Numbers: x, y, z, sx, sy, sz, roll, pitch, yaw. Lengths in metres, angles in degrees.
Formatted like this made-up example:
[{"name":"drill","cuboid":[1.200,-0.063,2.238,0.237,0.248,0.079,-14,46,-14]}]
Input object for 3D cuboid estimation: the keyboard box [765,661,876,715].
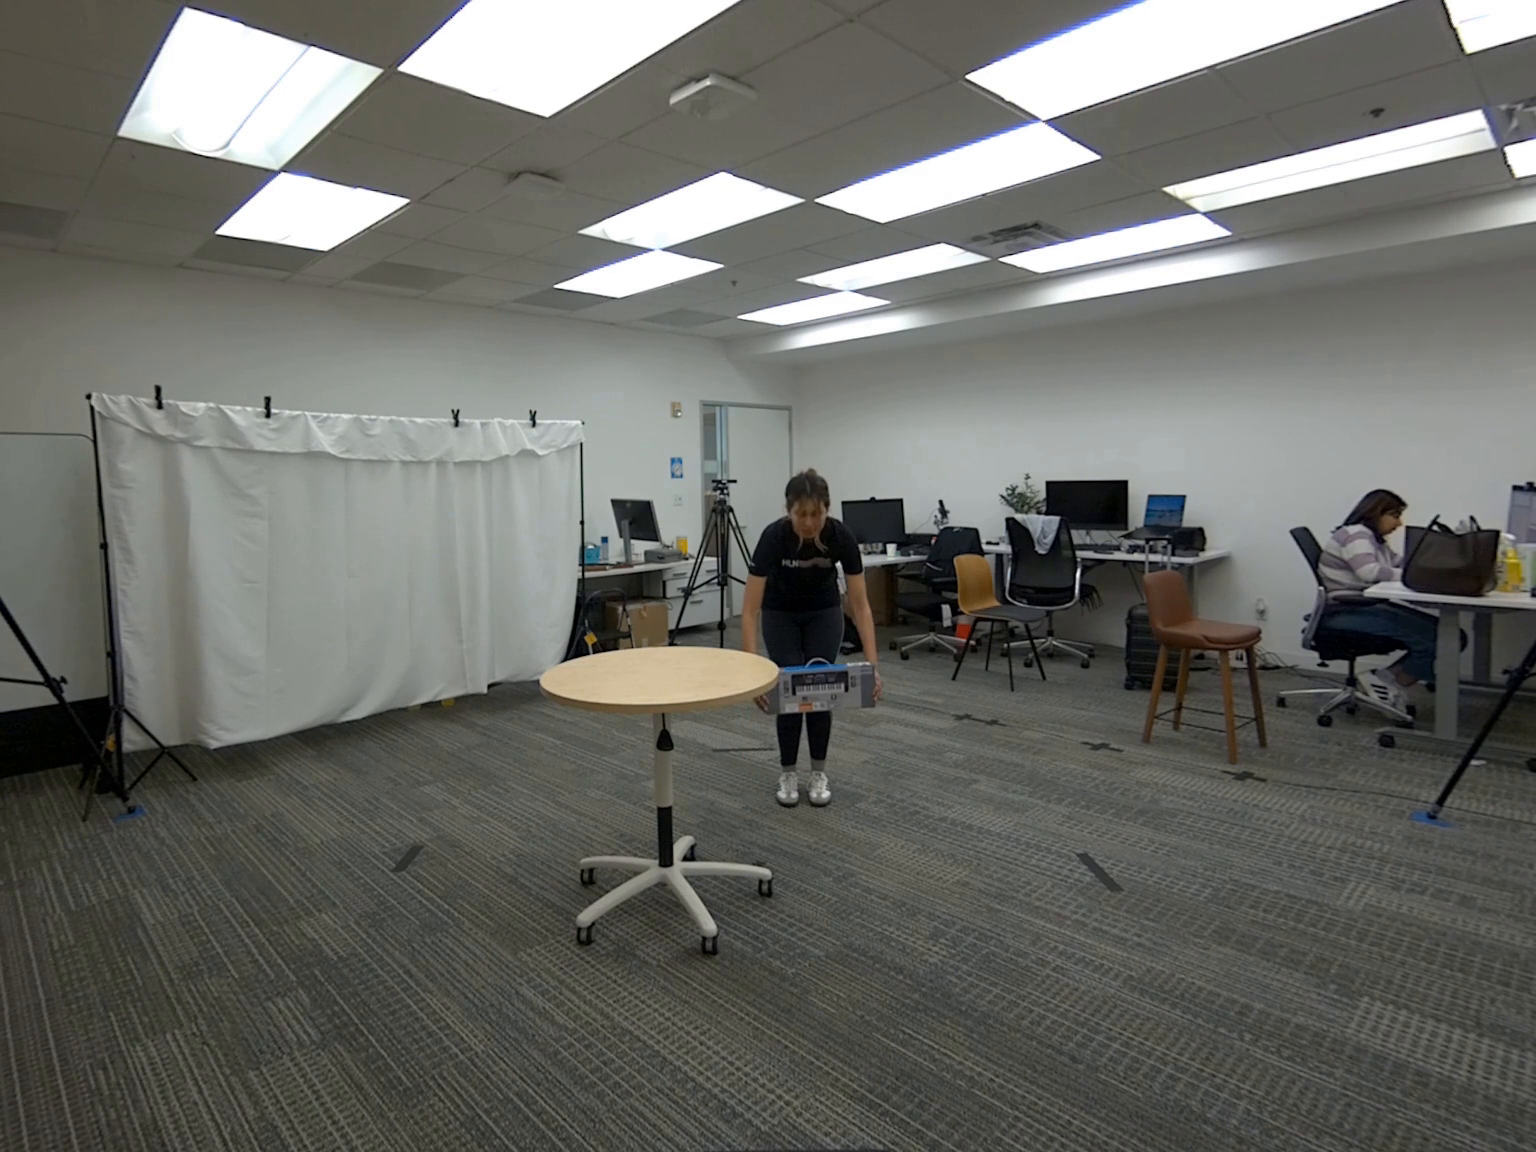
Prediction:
[{"name":"keyboard box","cuboid":[0.202,0.446,3.357,0.435,0.175,0.059,-3,3,-5]}]
